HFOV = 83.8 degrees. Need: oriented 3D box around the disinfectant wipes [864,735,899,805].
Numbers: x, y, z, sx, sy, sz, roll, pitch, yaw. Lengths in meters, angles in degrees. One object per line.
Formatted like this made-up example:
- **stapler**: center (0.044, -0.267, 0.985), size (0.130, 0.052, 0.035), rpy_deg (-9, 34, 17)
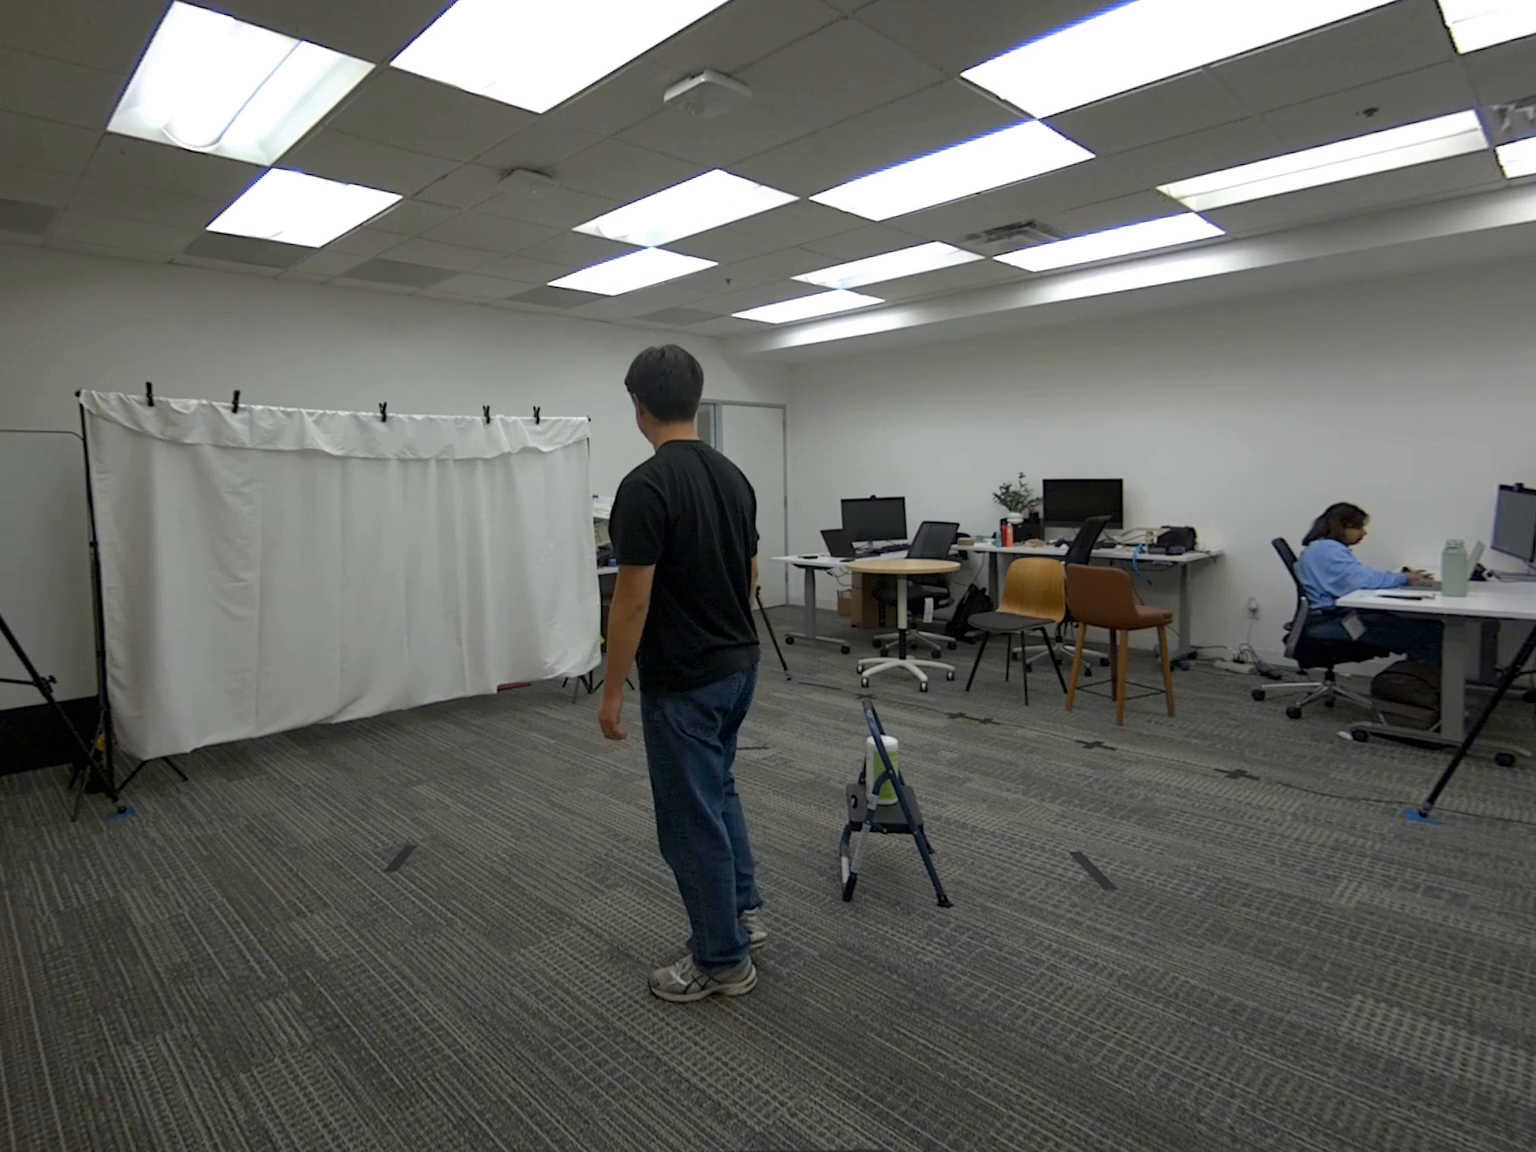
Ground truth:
- **disinfectant wipes**: center (0.402, 0.680, 2.991), size (0.118, 0.216, 0.118), rpy_deg (0, 7, -2)
